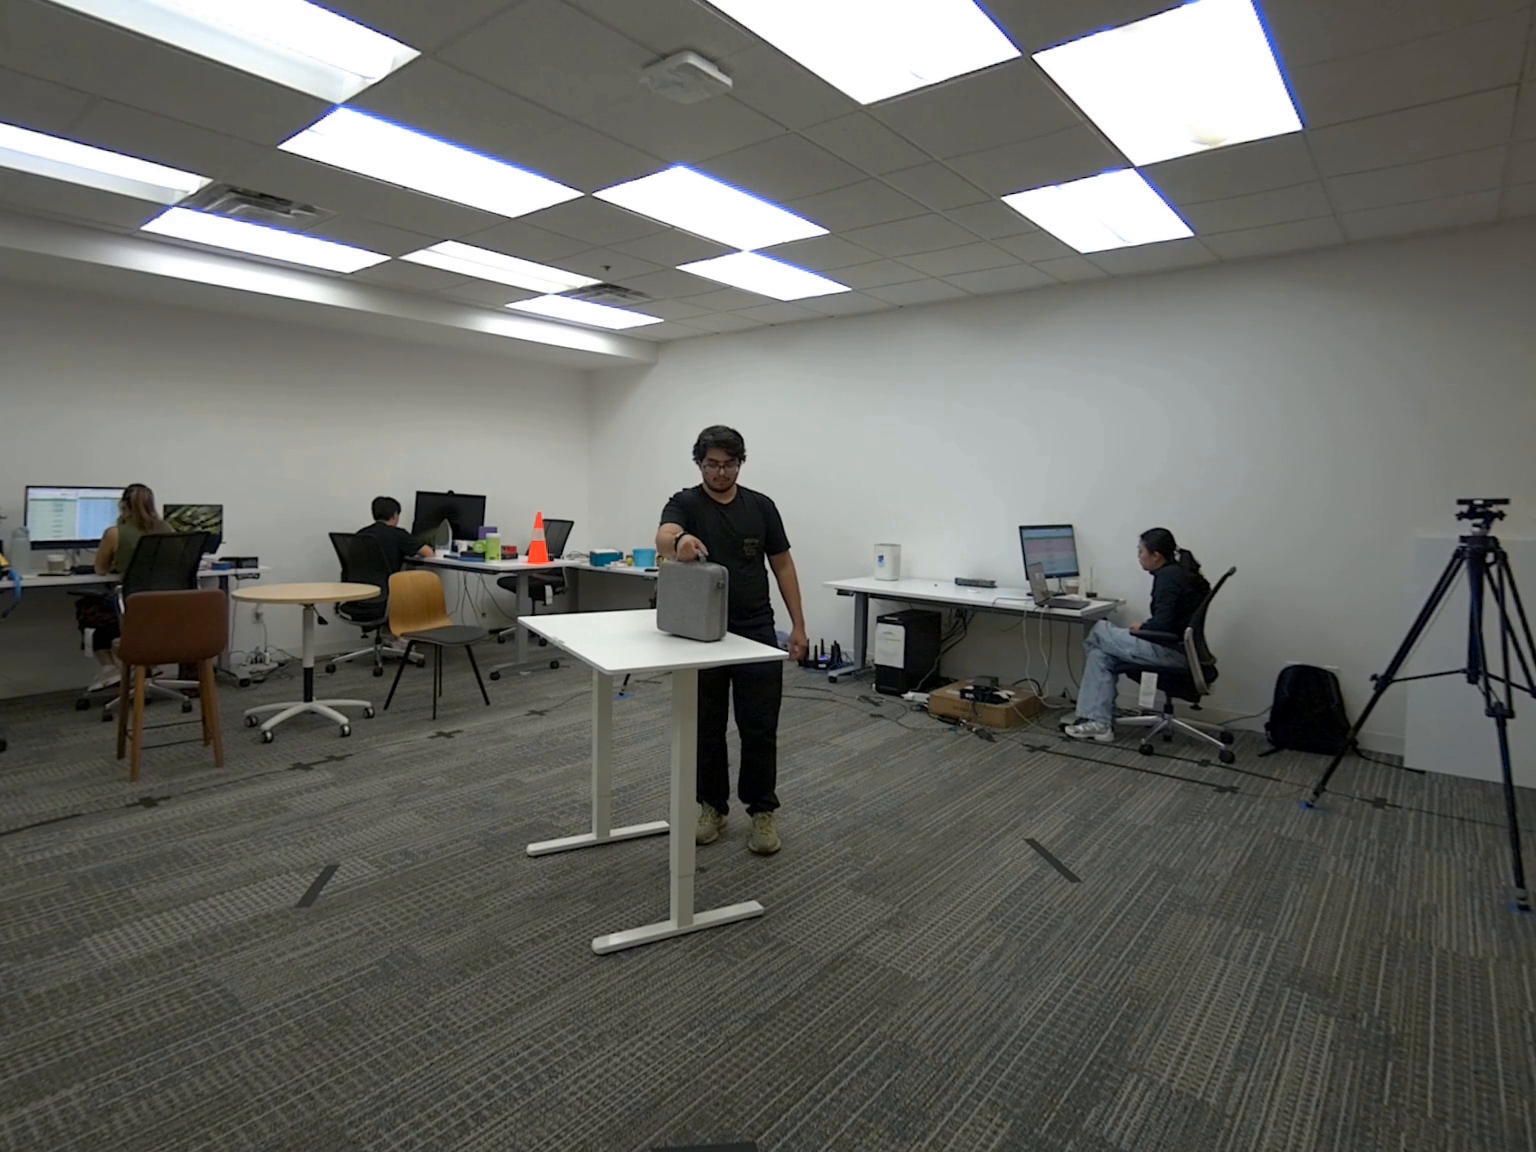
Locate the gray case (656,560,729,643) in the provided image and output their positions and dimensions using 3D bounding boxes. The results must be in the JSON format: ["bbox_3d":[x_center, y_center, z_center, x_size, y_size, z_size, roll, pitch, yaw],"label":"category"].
[{"bbox_3d":[-0.268,0.070,2.892,0.266,0.259,0.101,8,9,39],"label":"gray case"}]
